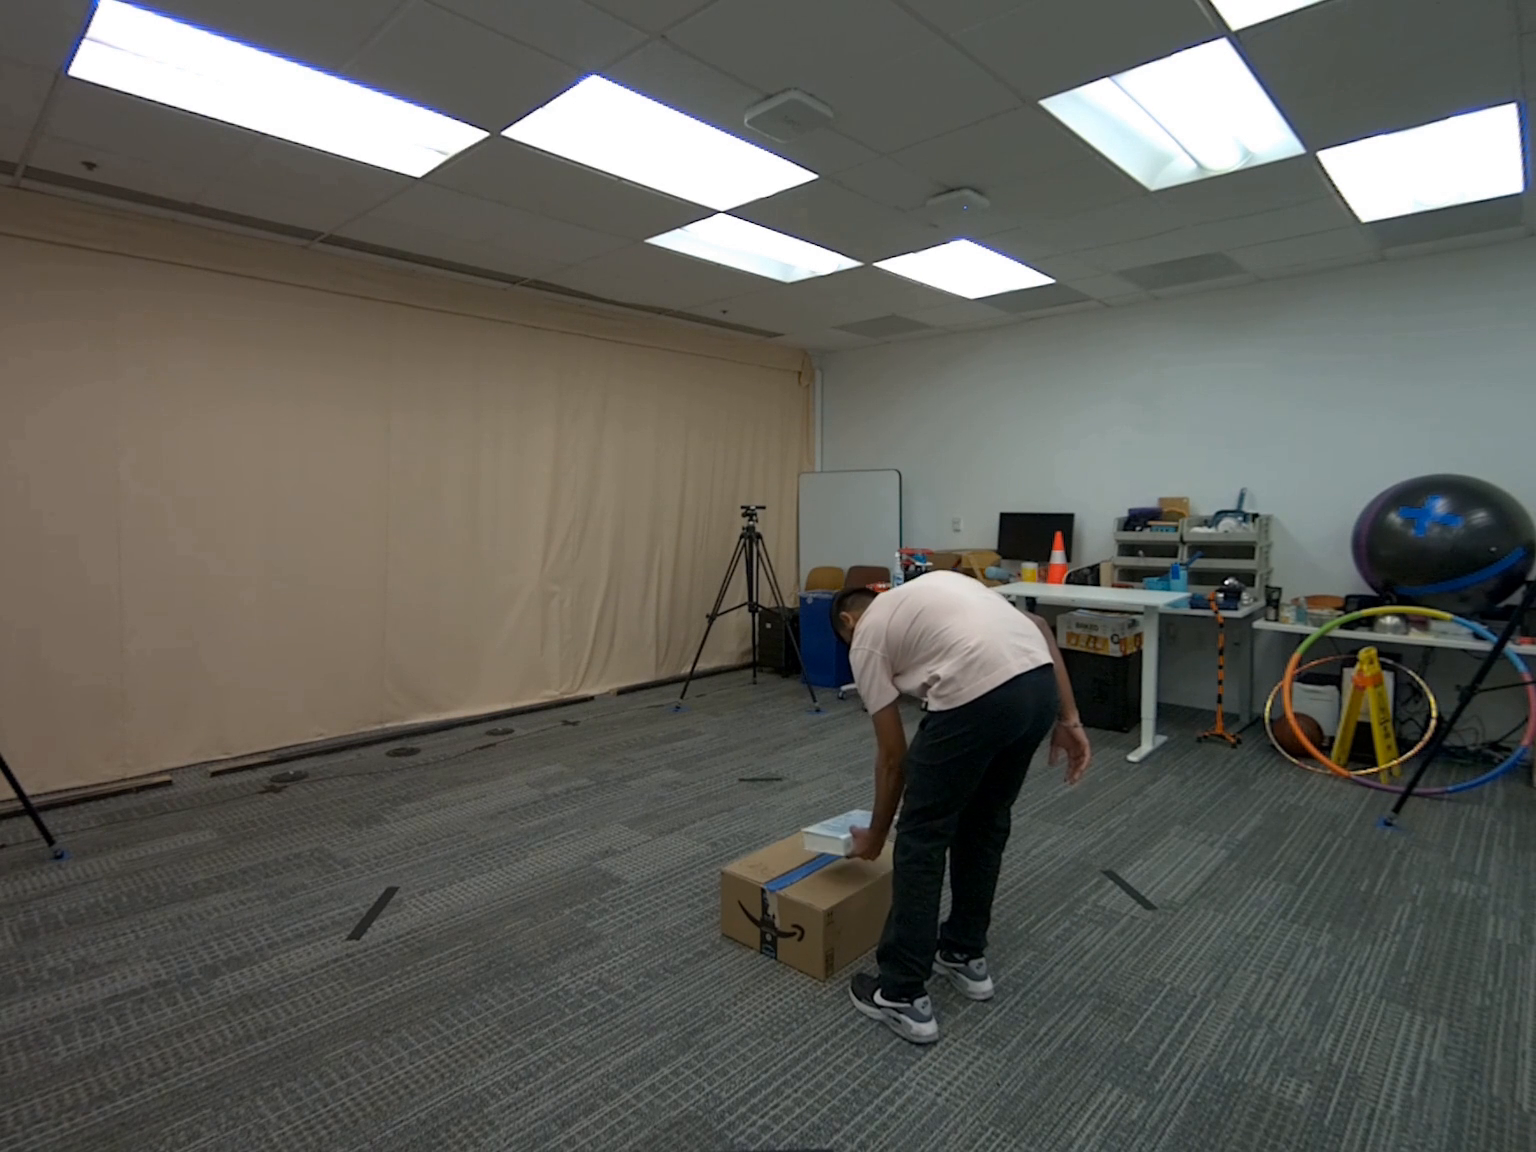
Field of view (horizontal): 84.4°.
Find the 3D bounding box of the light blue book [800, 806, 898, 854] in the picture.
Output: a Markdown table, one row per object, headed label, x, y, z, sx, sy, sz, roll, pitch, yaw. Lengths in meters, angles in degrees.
| label | x | y | z | sx | sy | sz | roll | pitch | yaw |
| --- | --- | --- | --- | --- | --- | --- | --- | --- | --- |
| light blue book | 0.267 | 0.806 | 2.704 | 0.253 | 0.059 | 0.196 | -6 | -3 | -39 |
